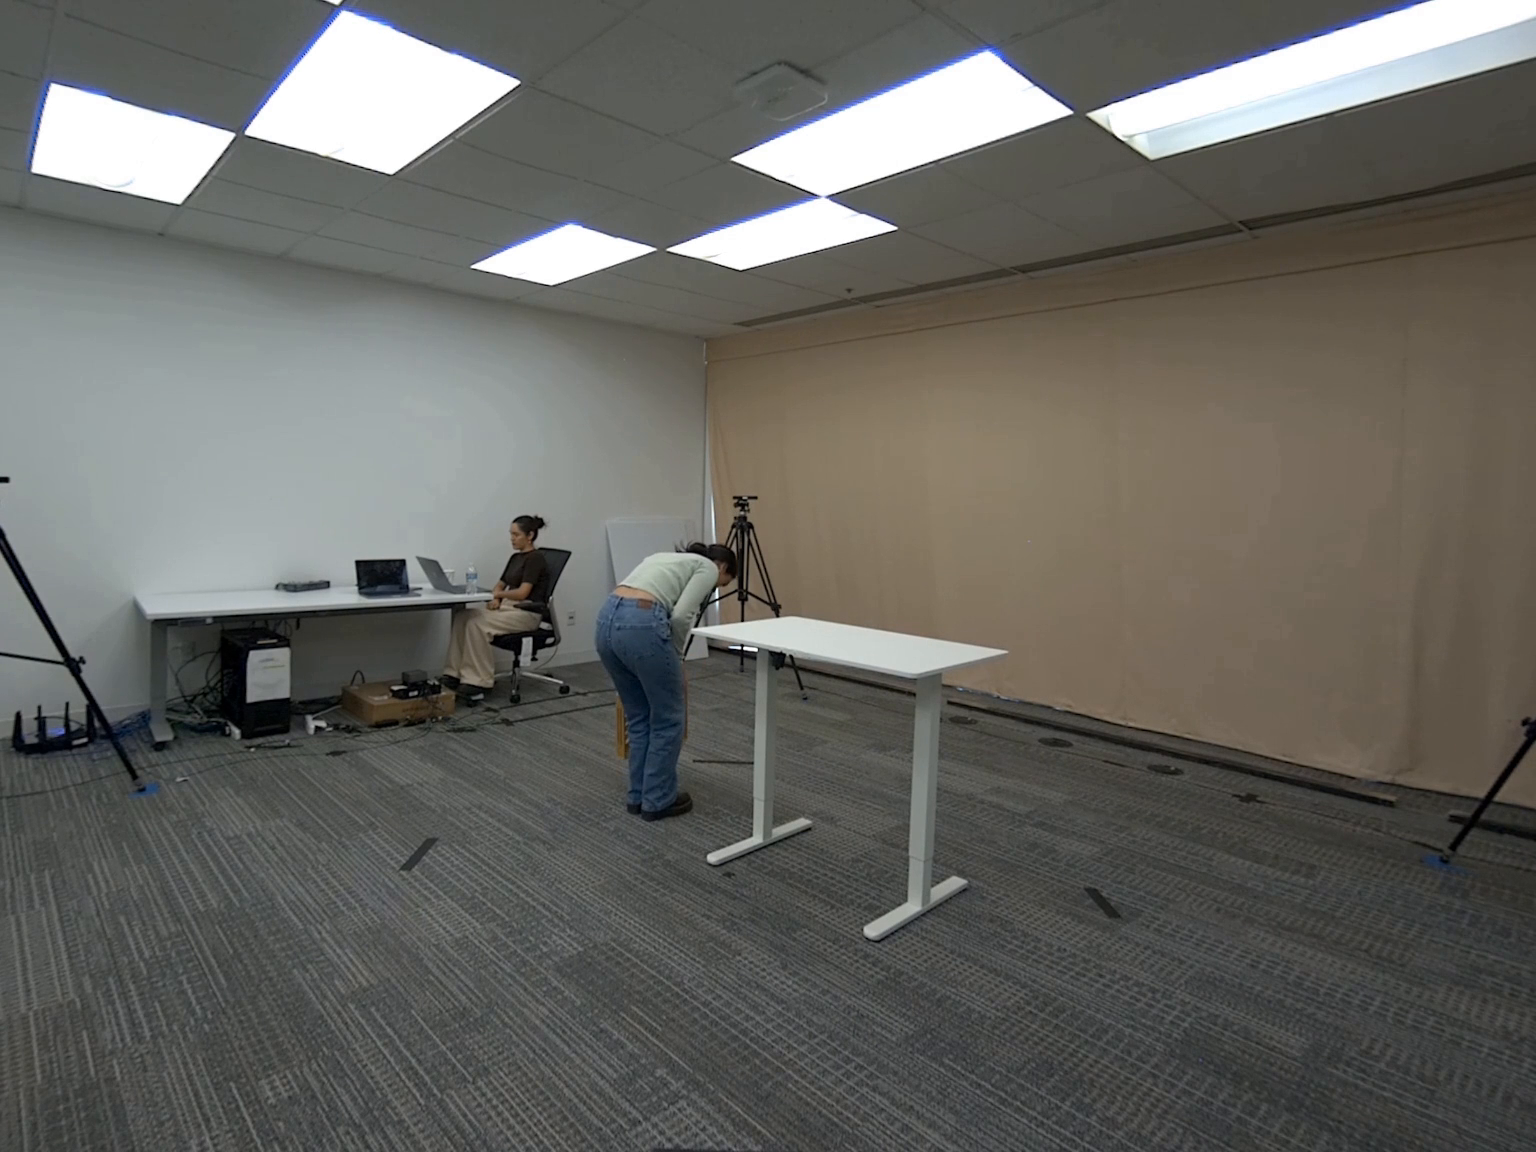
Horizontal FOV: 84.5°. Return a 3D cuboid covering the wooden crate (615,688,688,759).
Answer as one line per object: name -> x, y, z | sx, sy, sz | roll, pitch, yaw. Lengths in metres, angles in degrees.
wooden crate -> -0.547, 0.670, 3.944 | 0.276, 0.322, 0.301 | 1, 10, 12
